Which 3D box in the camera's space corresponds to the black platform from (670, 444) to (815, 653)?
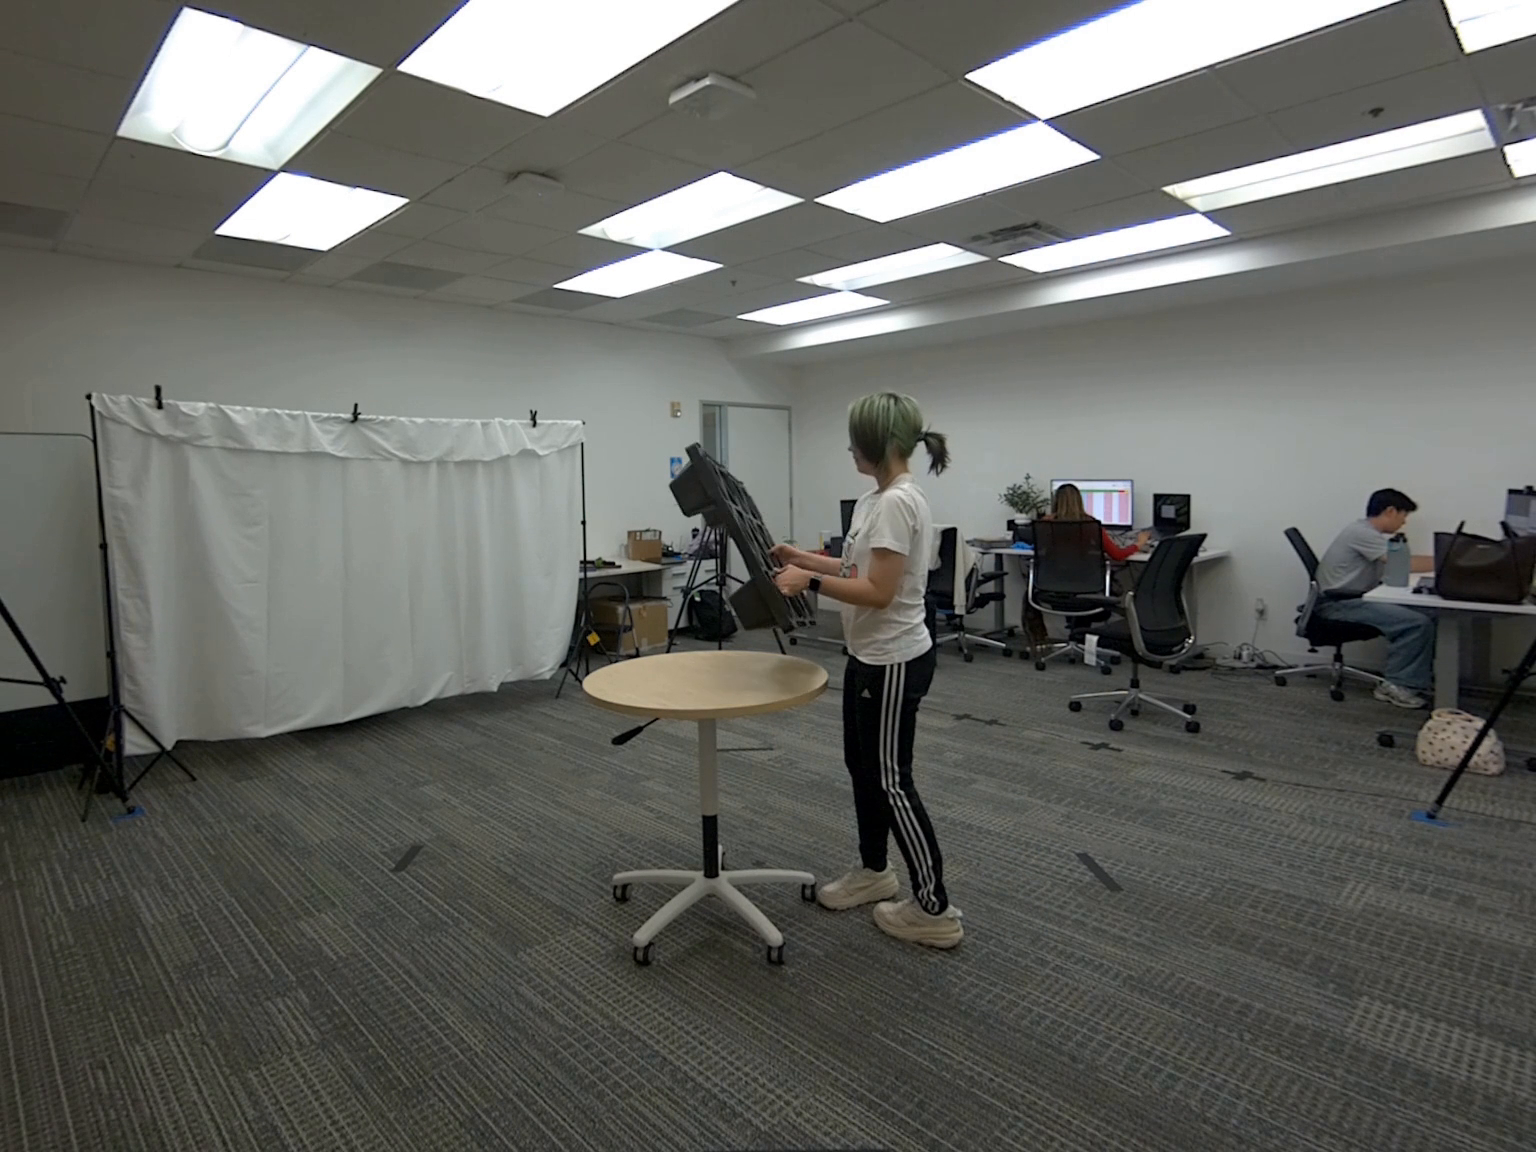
[{"bbox_3d":[-0.056,-0.066,2.749,0.144,0.613,0.794,-28,-8,5],"label":"black platform"}]
